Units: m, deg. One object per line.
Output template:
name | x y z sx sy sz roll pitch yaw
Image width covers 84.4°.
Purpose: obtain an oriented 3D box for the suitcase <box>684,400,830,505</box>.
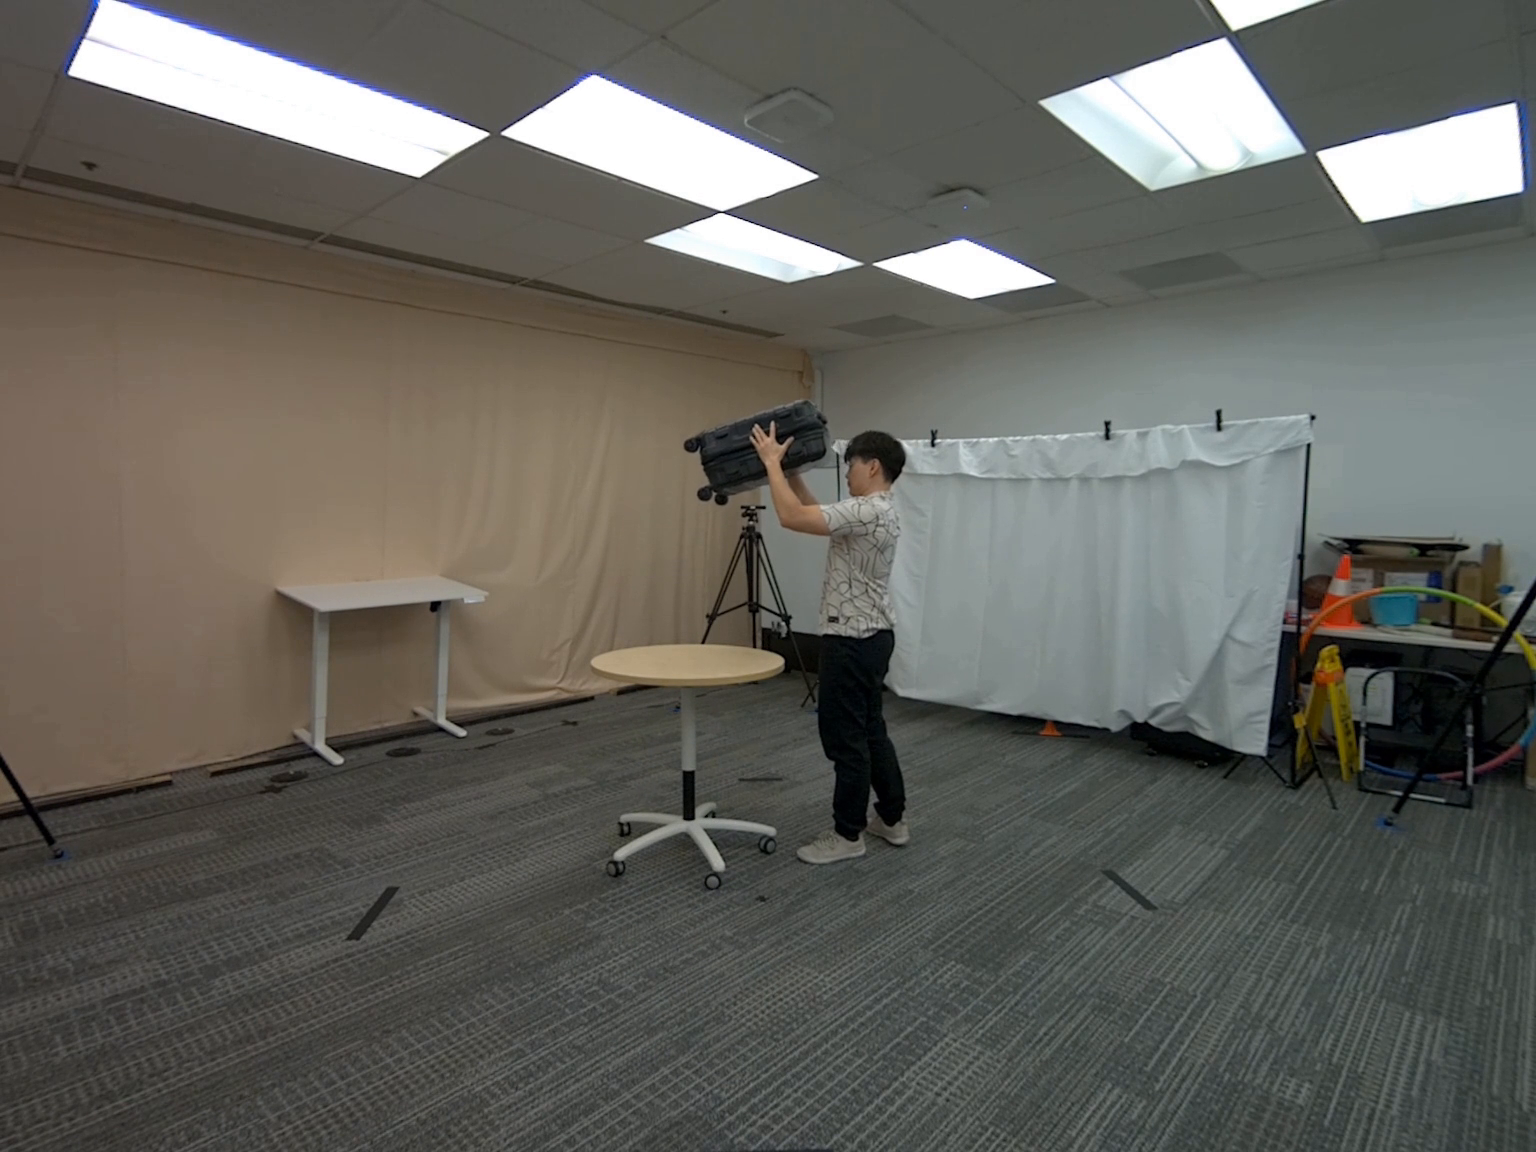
suitcase | -0.020 -0.518 3.427 0.555 0.248 0.371 -16 2 12
